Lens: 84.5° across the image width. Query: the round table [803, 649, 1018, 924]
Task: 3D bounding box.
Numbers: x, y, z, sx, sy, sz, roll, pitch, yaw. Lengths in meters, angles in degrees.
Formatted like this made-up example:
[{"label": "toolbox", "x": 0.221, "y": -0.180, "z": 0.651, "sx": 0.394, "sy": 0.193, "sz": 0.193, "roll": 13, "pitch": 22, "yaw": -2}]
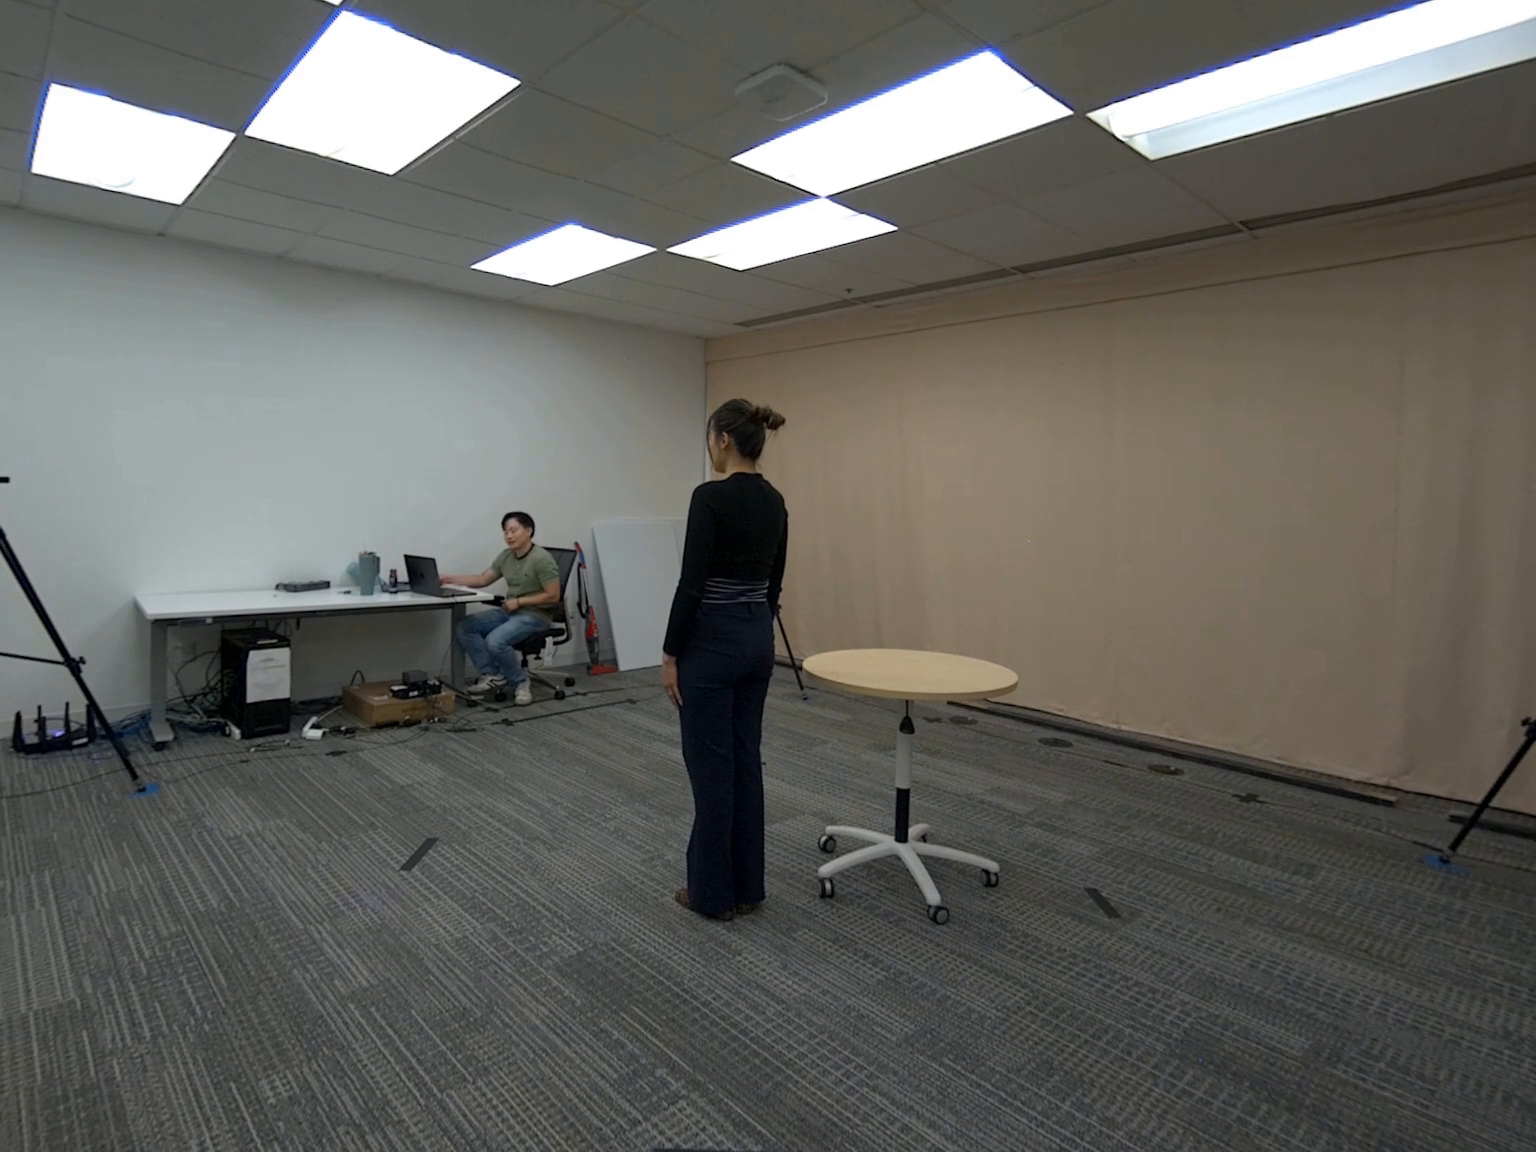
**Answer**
[{"label": "round table", "x": 0.494, "y": 0.729, "z": 3.094, "sx": 0.763, "sy": 0.792, "sz": 0.767, "roll": 2, "pitch": 4, "yaw": -1}]
